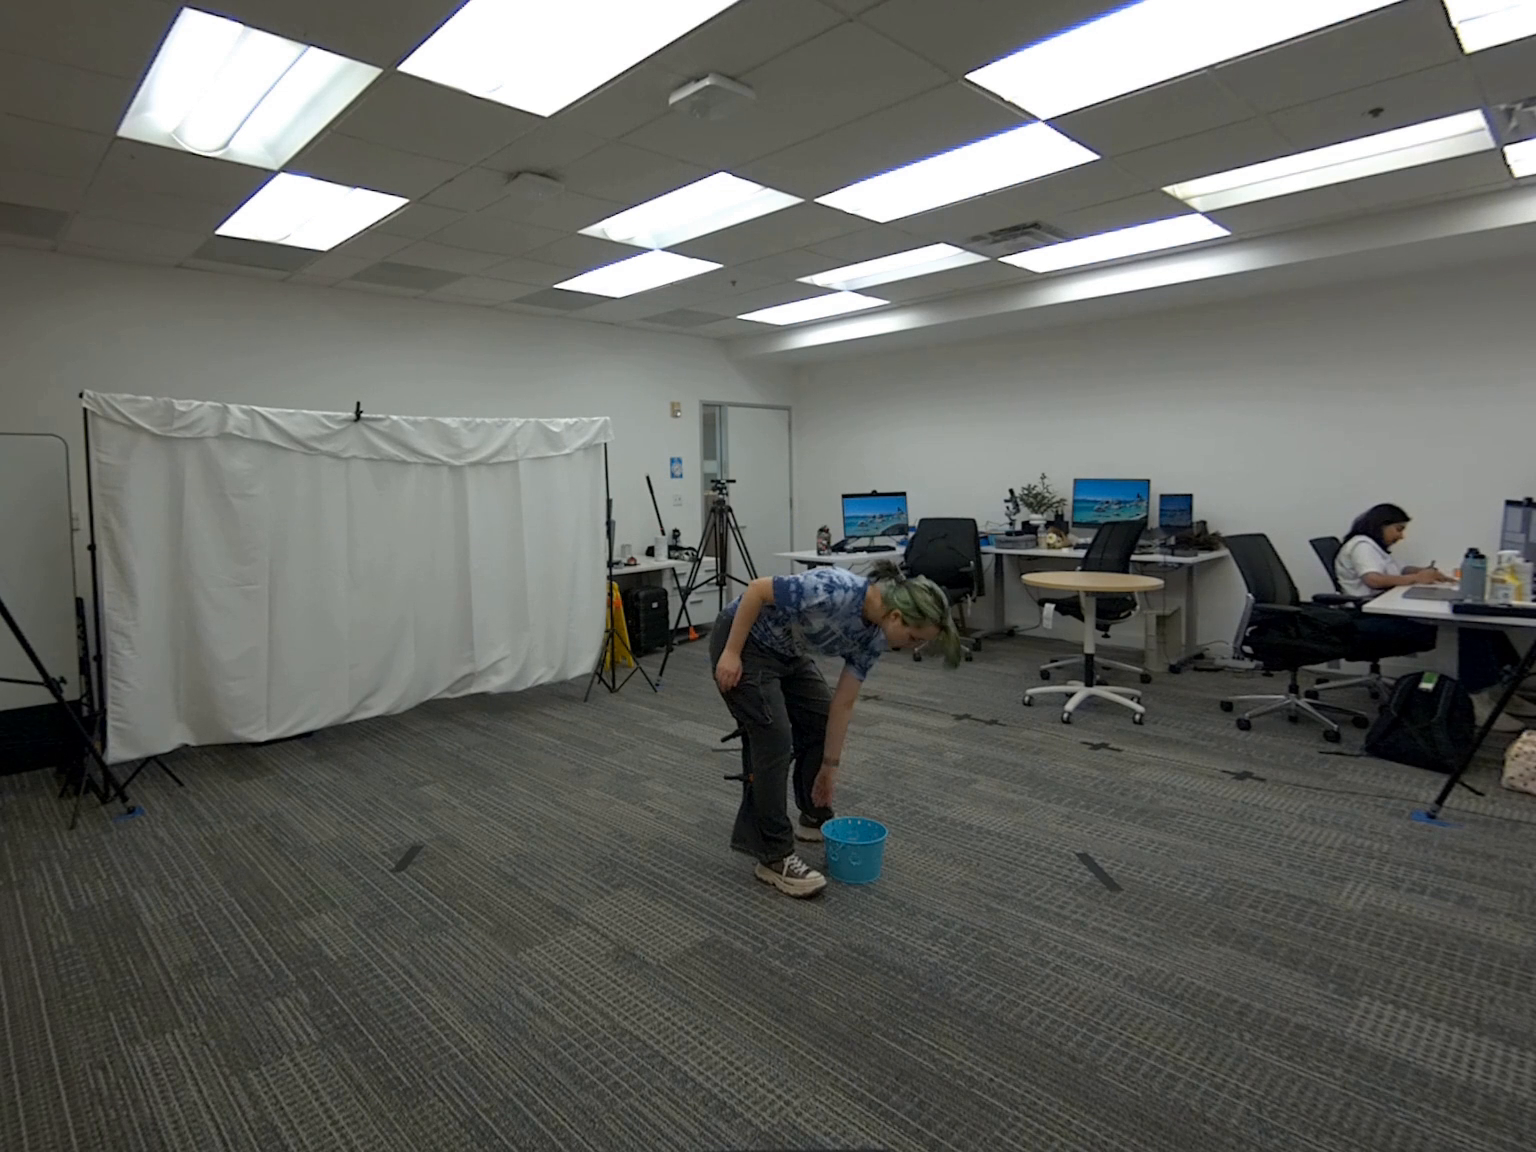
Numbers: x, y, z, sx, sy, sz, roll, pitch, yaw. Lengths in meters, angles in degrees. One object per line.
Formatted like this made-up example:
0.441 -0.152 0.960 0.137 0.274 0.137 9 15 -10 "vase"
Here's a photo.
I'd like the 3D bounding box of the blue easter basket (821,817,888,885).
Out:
0.307 0.973 3.032 0.243 0.155 0.245 -2 6 -2 "blue easter basket"
